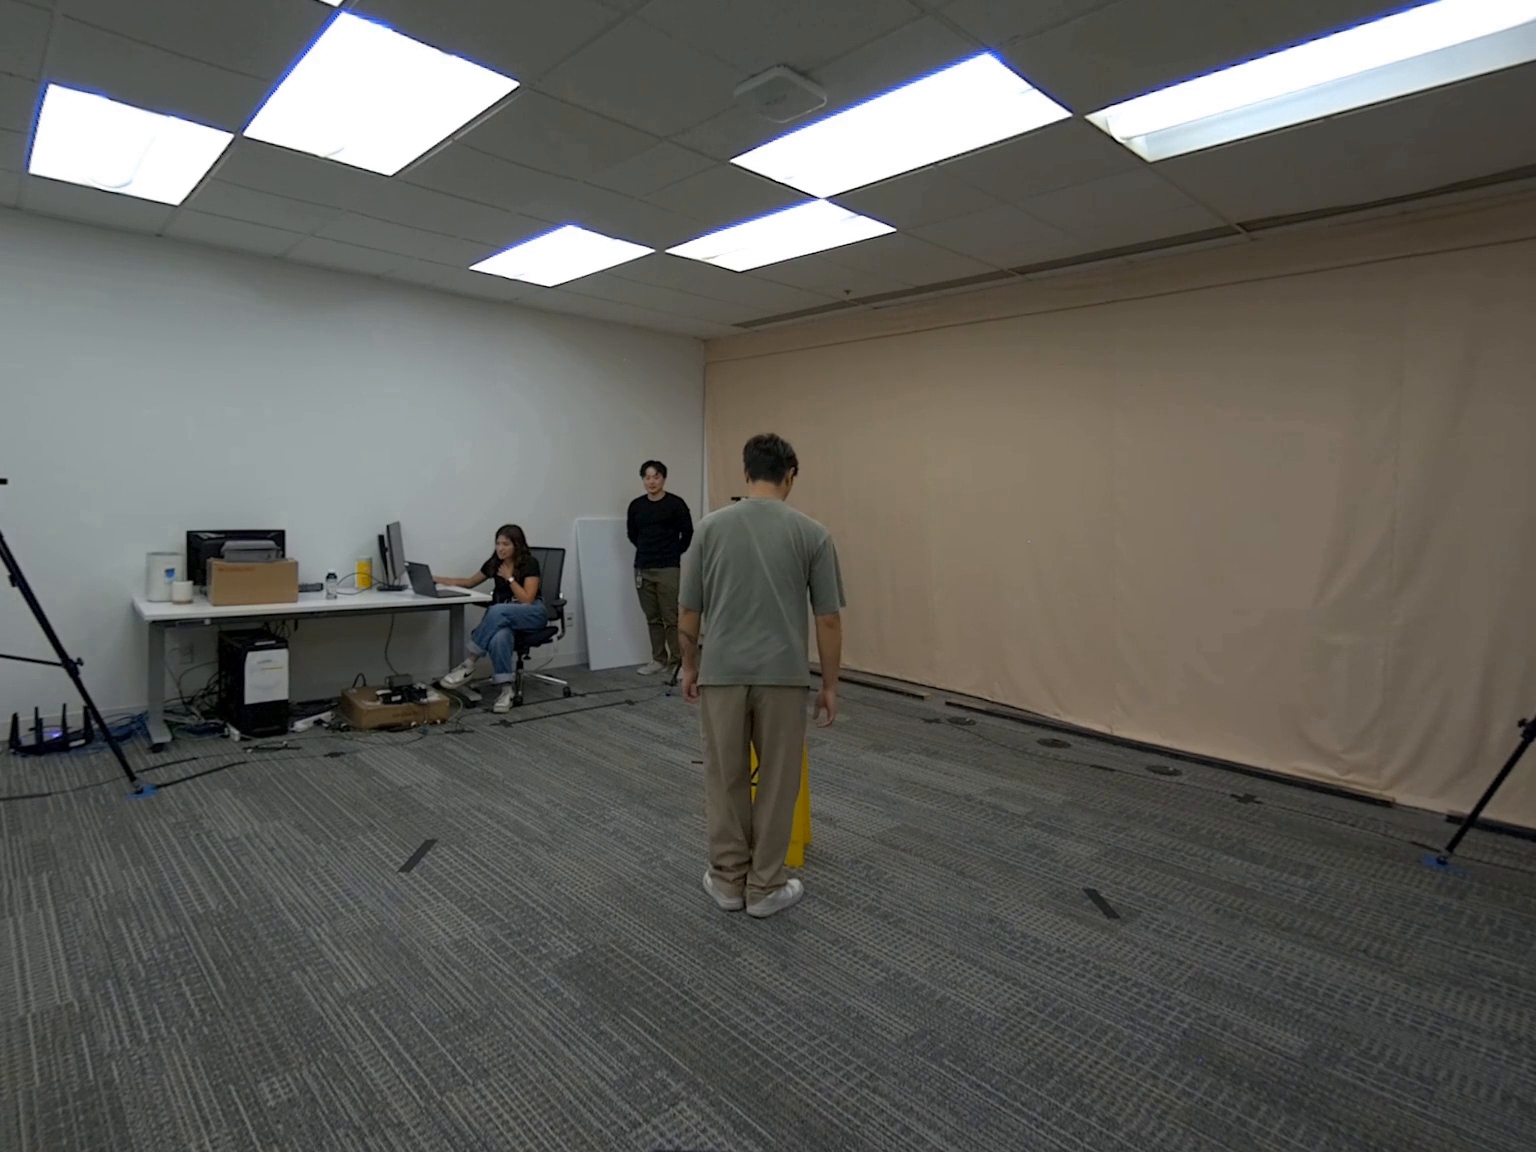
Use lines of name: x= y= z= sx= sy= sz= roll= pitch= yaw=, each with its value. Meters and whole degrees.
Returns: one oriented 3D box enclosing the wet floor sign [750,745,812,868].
wet floor sign: x=0.013 y=0.771 z=3.327 sx=0.285 sy=0.645 sz=0.287 roll=3 pitch=2 yaw=12
